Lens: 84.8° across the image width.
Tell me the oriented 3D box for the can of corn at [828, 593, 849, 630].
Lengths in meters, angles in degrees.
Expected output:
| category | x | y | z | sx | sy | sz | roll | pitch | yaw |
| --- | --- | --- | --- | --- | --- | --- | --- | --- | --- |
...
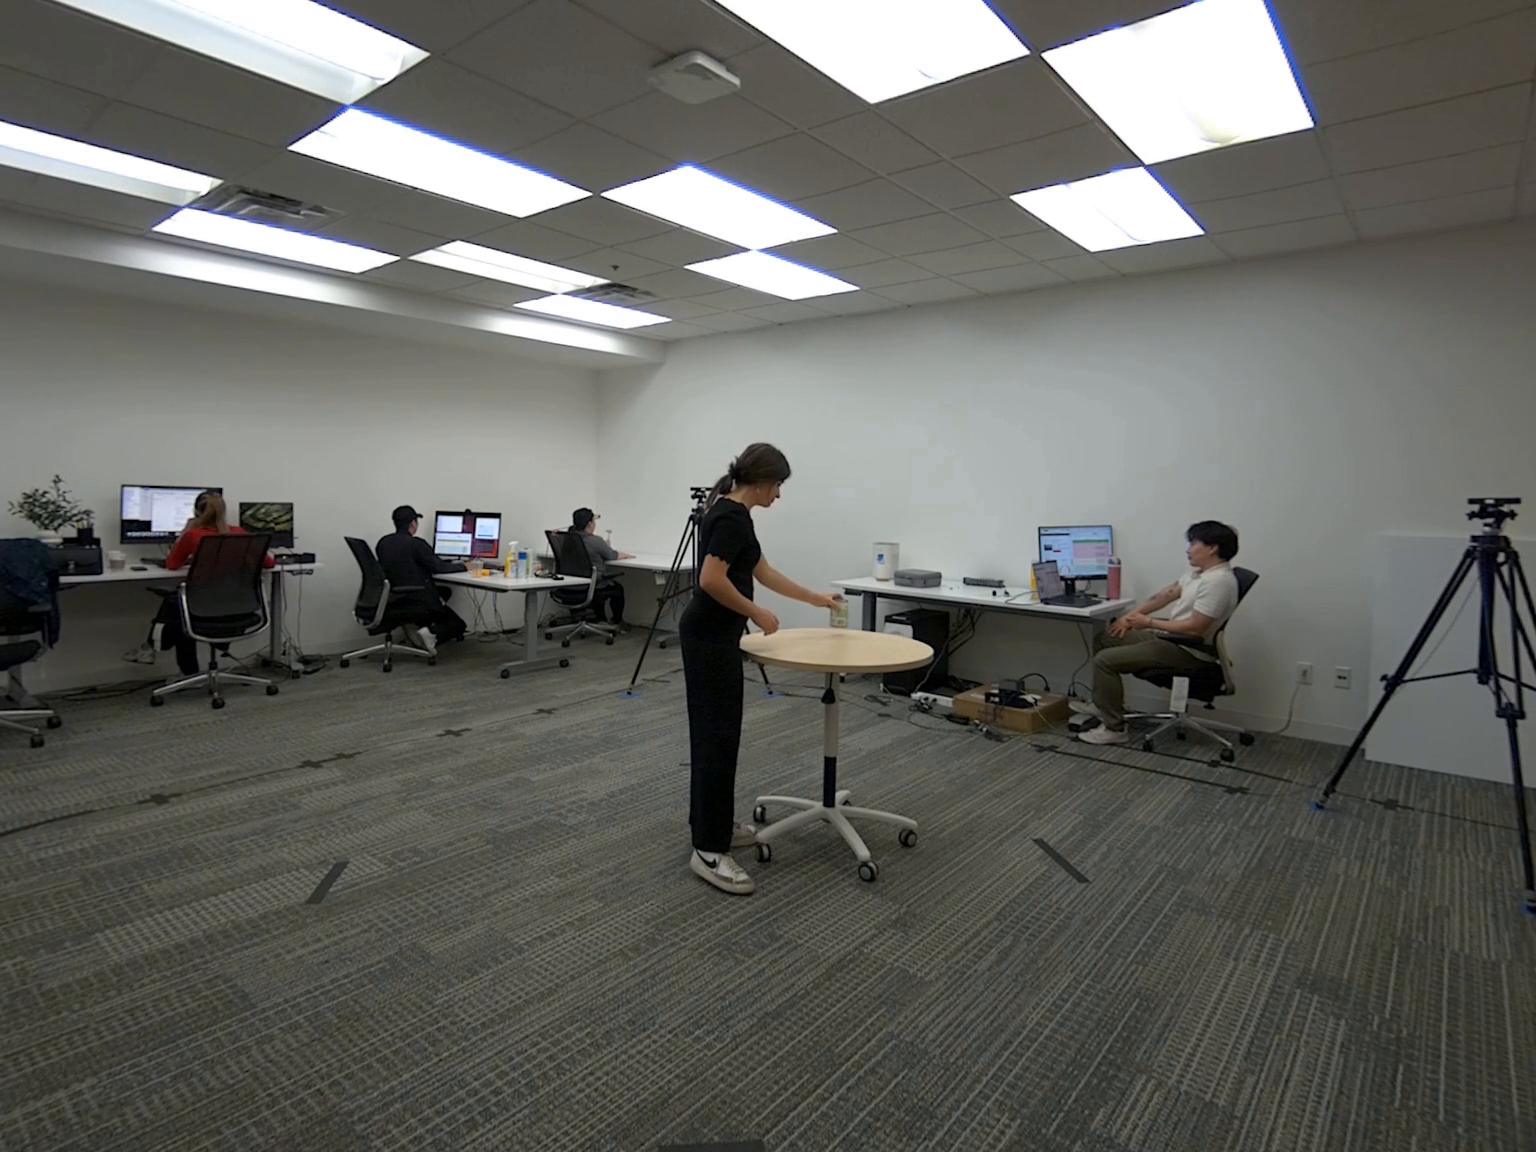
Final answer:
| category | x | y | z | sx | sy | sz | roll | pitch | yaw |
| --- | --- | --- | --- | --- | --- | --- | --- | --- | --- |
| can of corn | 0.287 | 0.155 | 3.560 | 0.074 | 0.111 | 0.074 | 2 | 3 | -2 |
